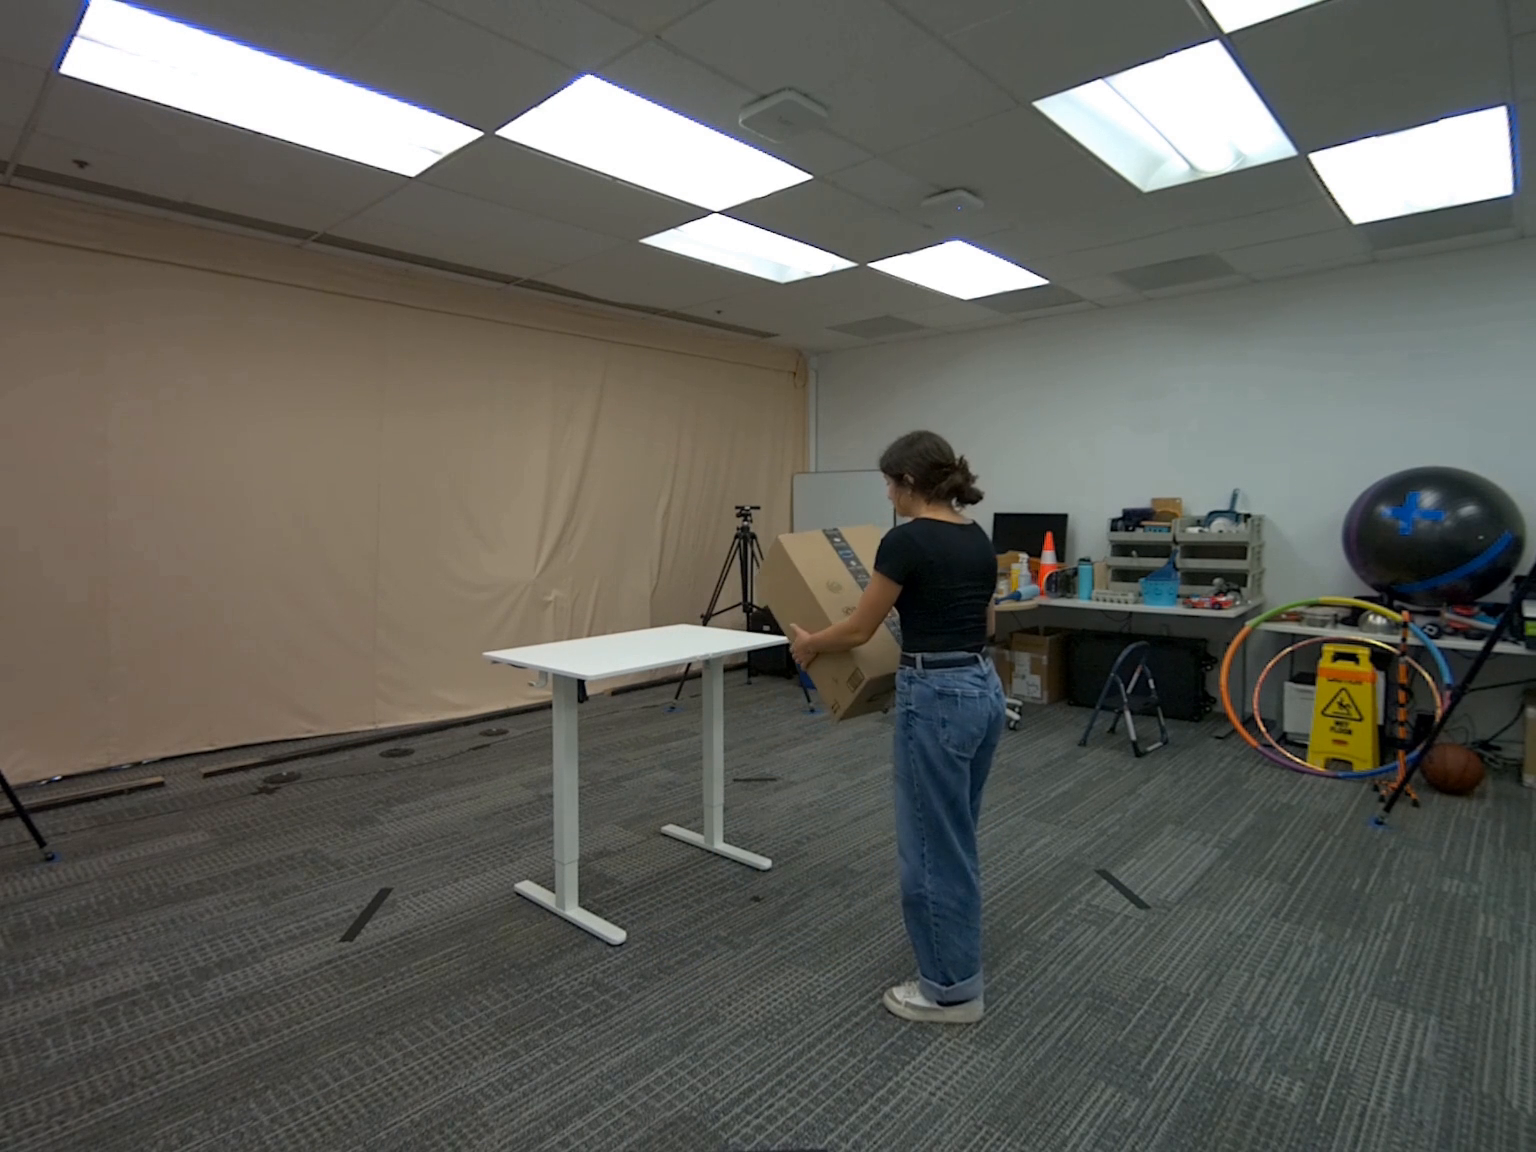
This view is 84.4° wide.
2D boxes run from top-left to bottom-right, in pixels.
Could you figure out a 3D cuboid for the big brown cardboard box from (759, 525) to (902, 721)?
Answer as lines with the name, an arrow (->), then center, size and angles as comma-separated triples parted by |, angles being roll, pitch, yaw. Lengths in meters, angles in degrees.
big brown cardboard box -> 0.286, 0.124, 2.657 | 0.406, 0.232, 0.607 | -7, 50, -32
